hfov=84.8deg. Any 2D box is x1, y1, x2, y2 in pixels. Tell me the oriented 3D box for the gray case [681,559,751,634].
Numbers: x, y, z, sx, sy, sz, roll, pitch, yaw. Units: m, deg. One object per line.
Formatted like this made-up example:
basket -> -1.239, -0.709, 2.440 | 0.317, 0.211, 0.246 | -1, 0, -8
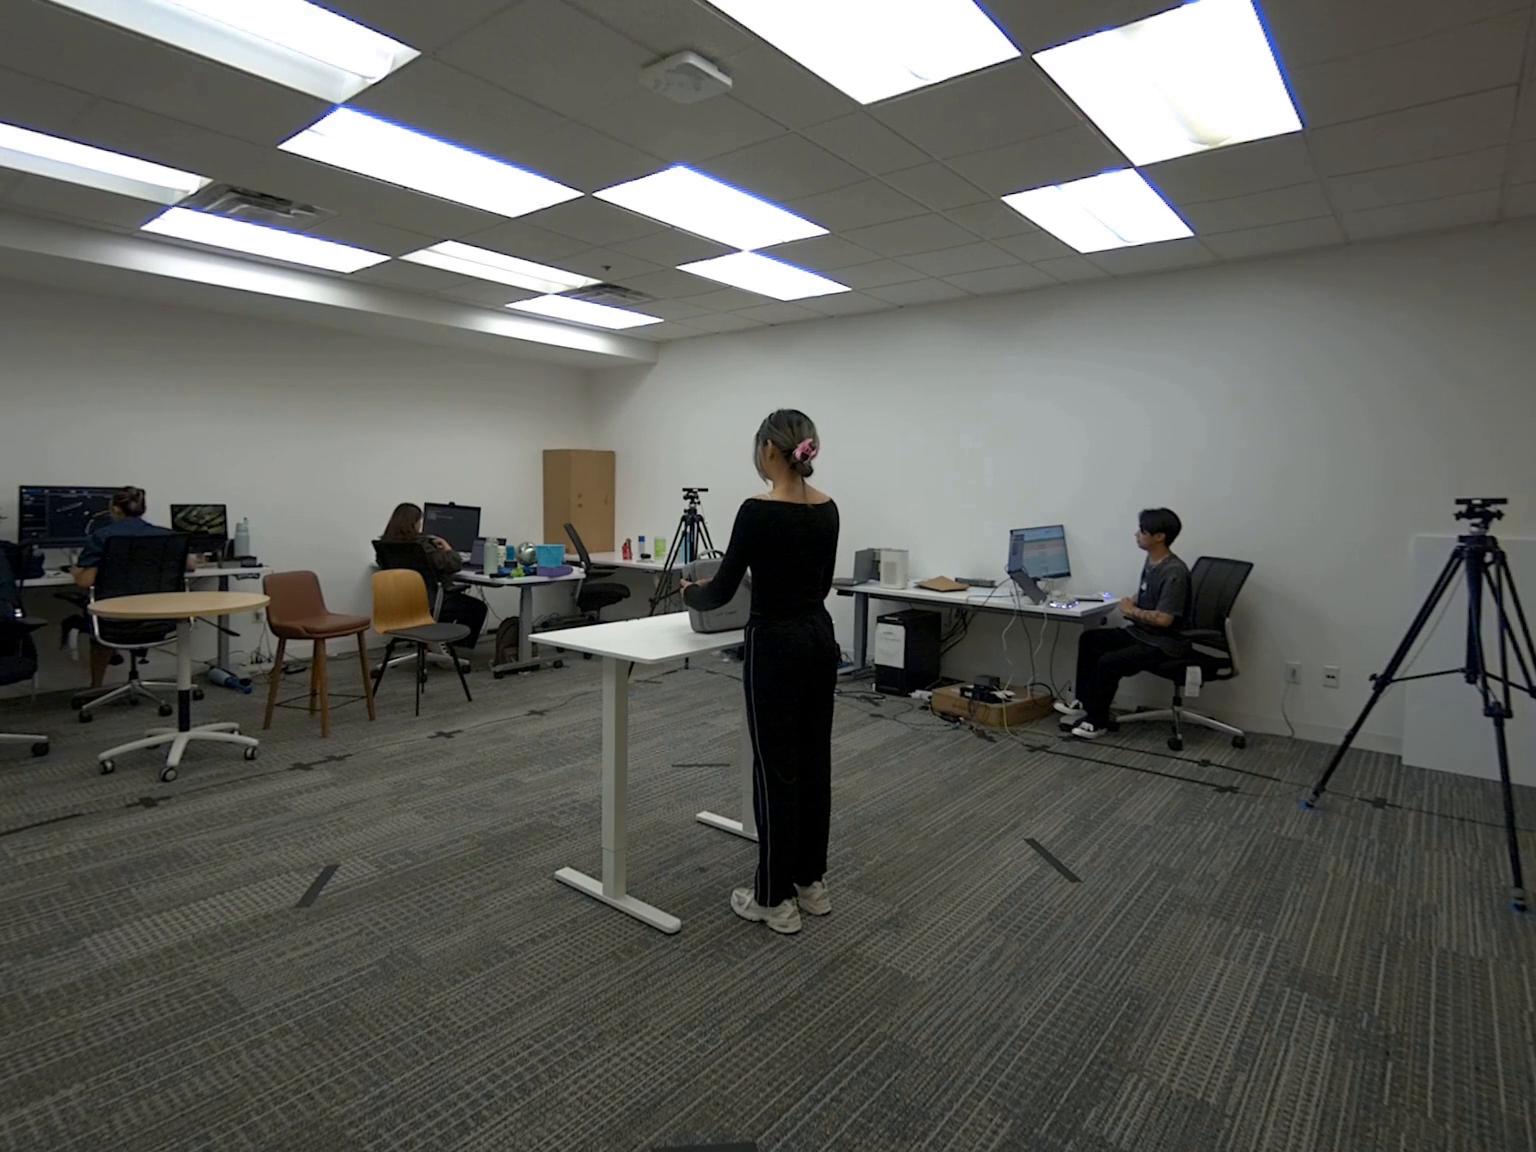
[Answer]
gray case -> -0.184, 0.061, 3.062 | 0.249, 0.263, 0.107 | -3, -8, -41
